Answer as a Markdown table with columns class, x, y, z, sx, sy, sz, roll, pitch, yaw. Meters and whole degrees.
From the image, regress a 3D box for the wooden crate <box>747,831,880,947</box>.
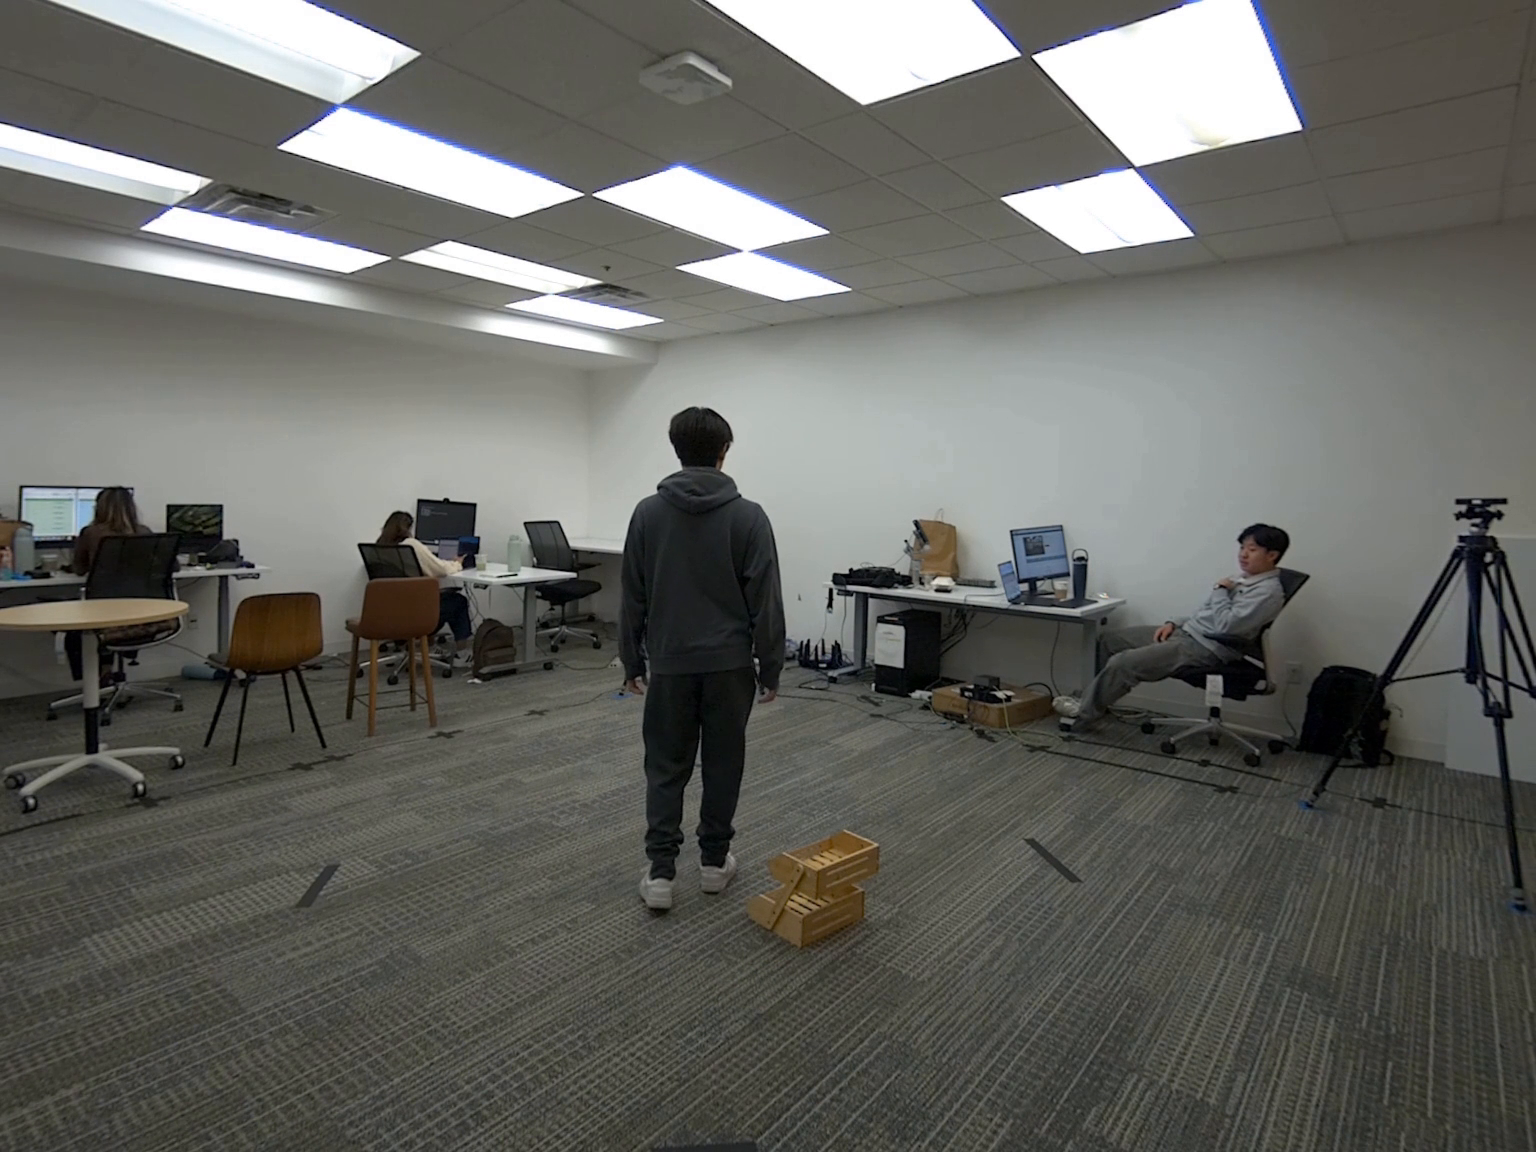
| class | x | y | z | sx | sy | sz | roll | pitch | yaw |
| --- | --- | --- | --- | --- | --- | --- | --- | --- | --- |
| wooden crate | 0.137 | 0.978 | 2.751 | 0.314 | 0.272 | 0.312 | -3 | 7 | -43 |
